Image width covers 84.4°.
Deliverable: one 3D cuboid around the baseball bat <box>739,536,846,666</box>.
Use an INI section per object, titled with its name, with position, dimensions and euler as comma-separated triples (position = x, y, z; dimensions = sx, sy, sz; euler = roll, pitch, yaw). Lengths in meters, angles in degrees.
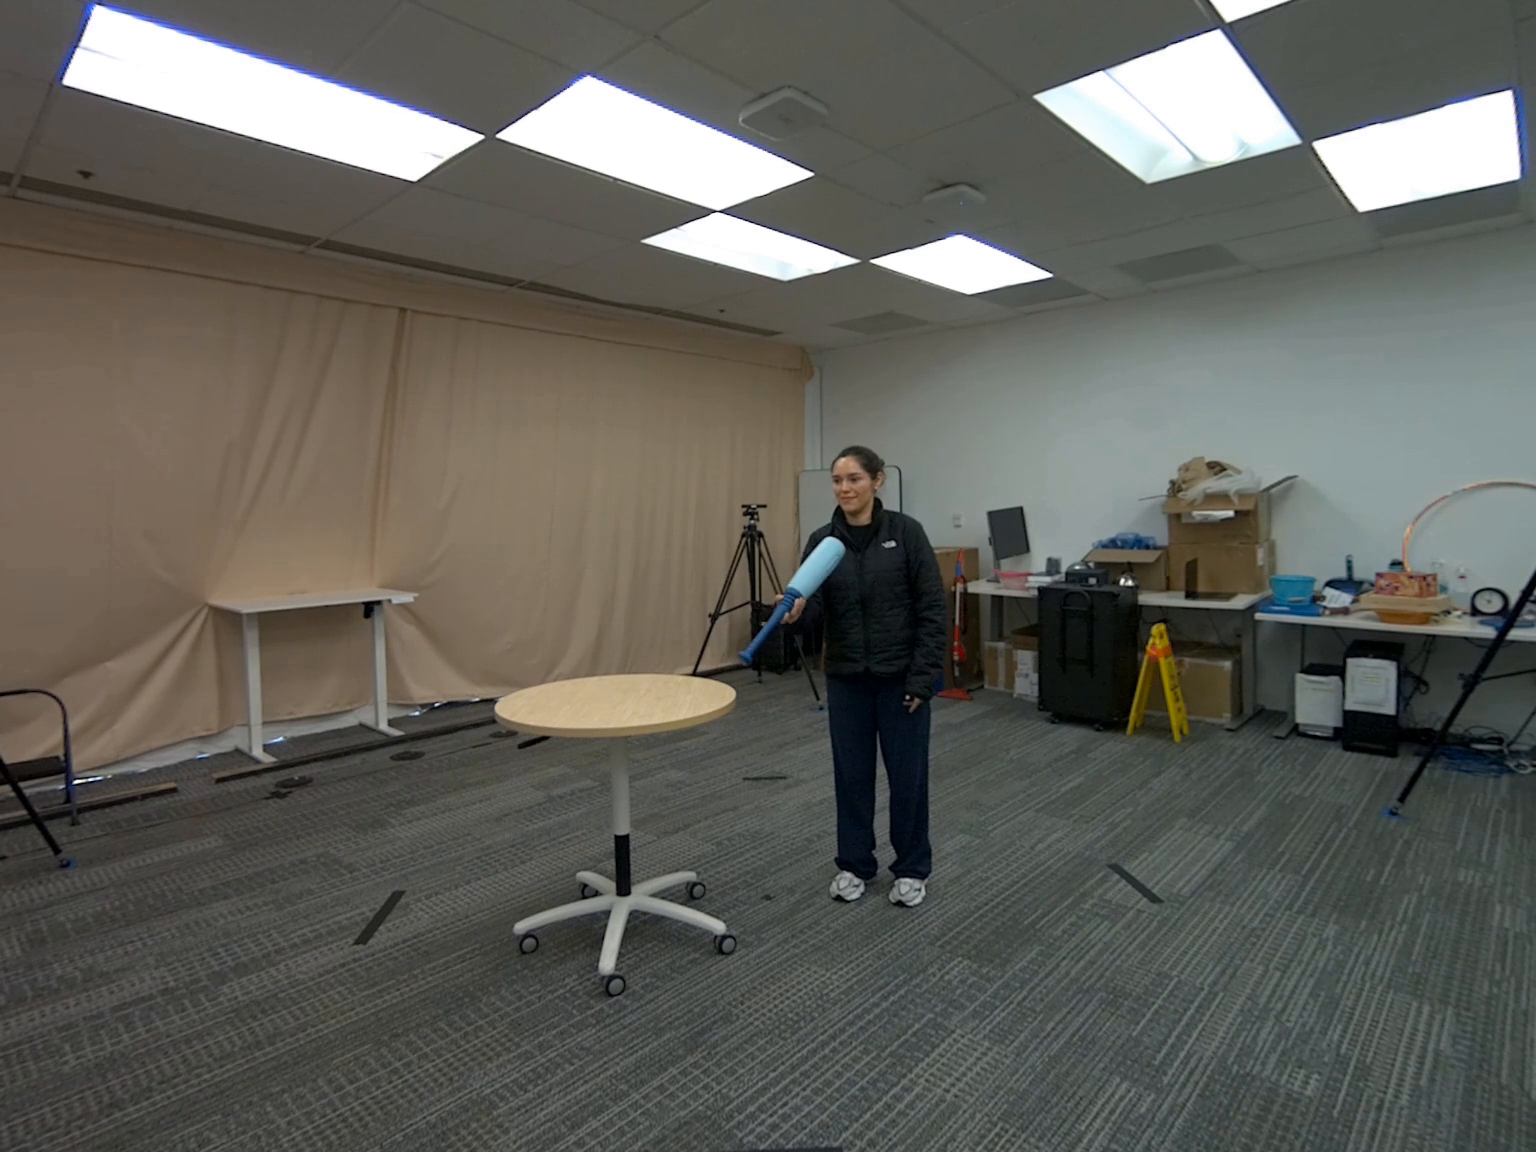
[baseball bat]
position = 0.089, 0.077, 2.635
dimensions = 0.092, 0.086, 0.540
euler = 3, 43, 45
